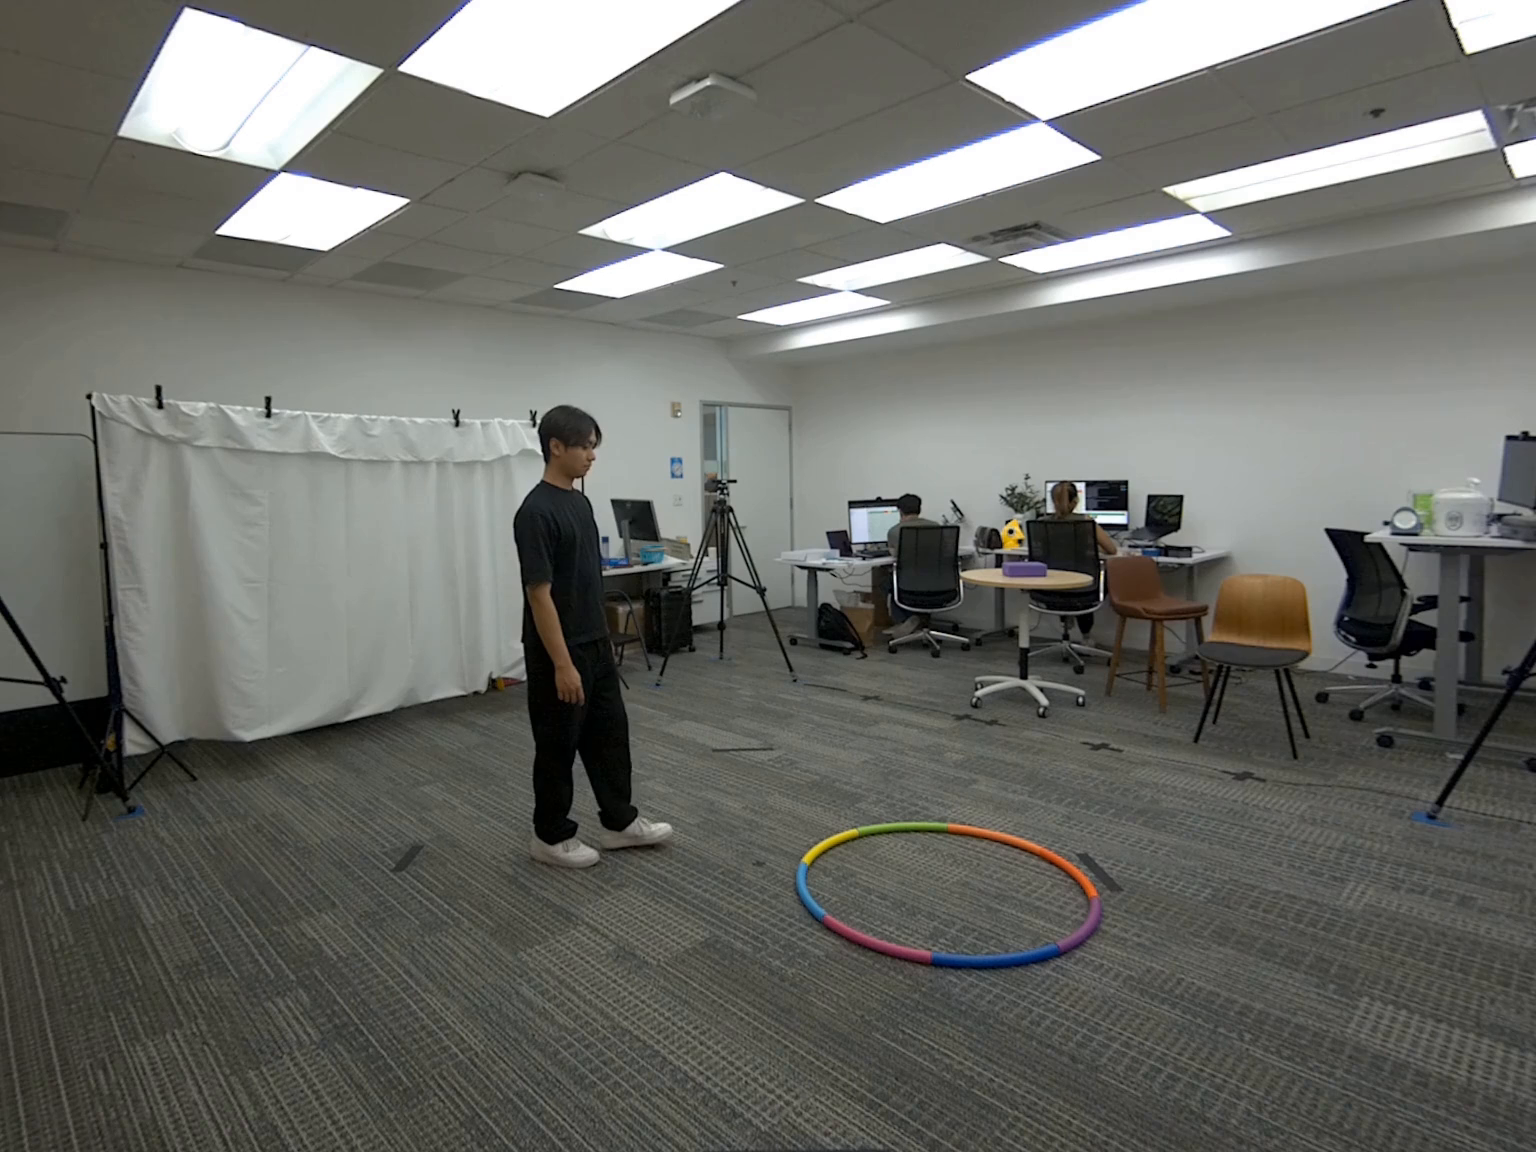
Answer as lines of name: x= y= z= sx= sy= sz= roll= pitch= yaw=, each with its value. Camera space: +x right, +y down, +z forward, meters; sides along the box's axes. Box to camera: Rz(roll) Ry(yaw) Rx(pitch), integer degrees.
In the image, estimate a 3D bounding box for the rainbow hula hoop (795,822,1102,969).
rainbow hula hoop: x=0.588 y=1.029 z=2.902 sx=0.978 sy=0.035 sz=0.984 roll=-1 pitch=7 yaw=-2
